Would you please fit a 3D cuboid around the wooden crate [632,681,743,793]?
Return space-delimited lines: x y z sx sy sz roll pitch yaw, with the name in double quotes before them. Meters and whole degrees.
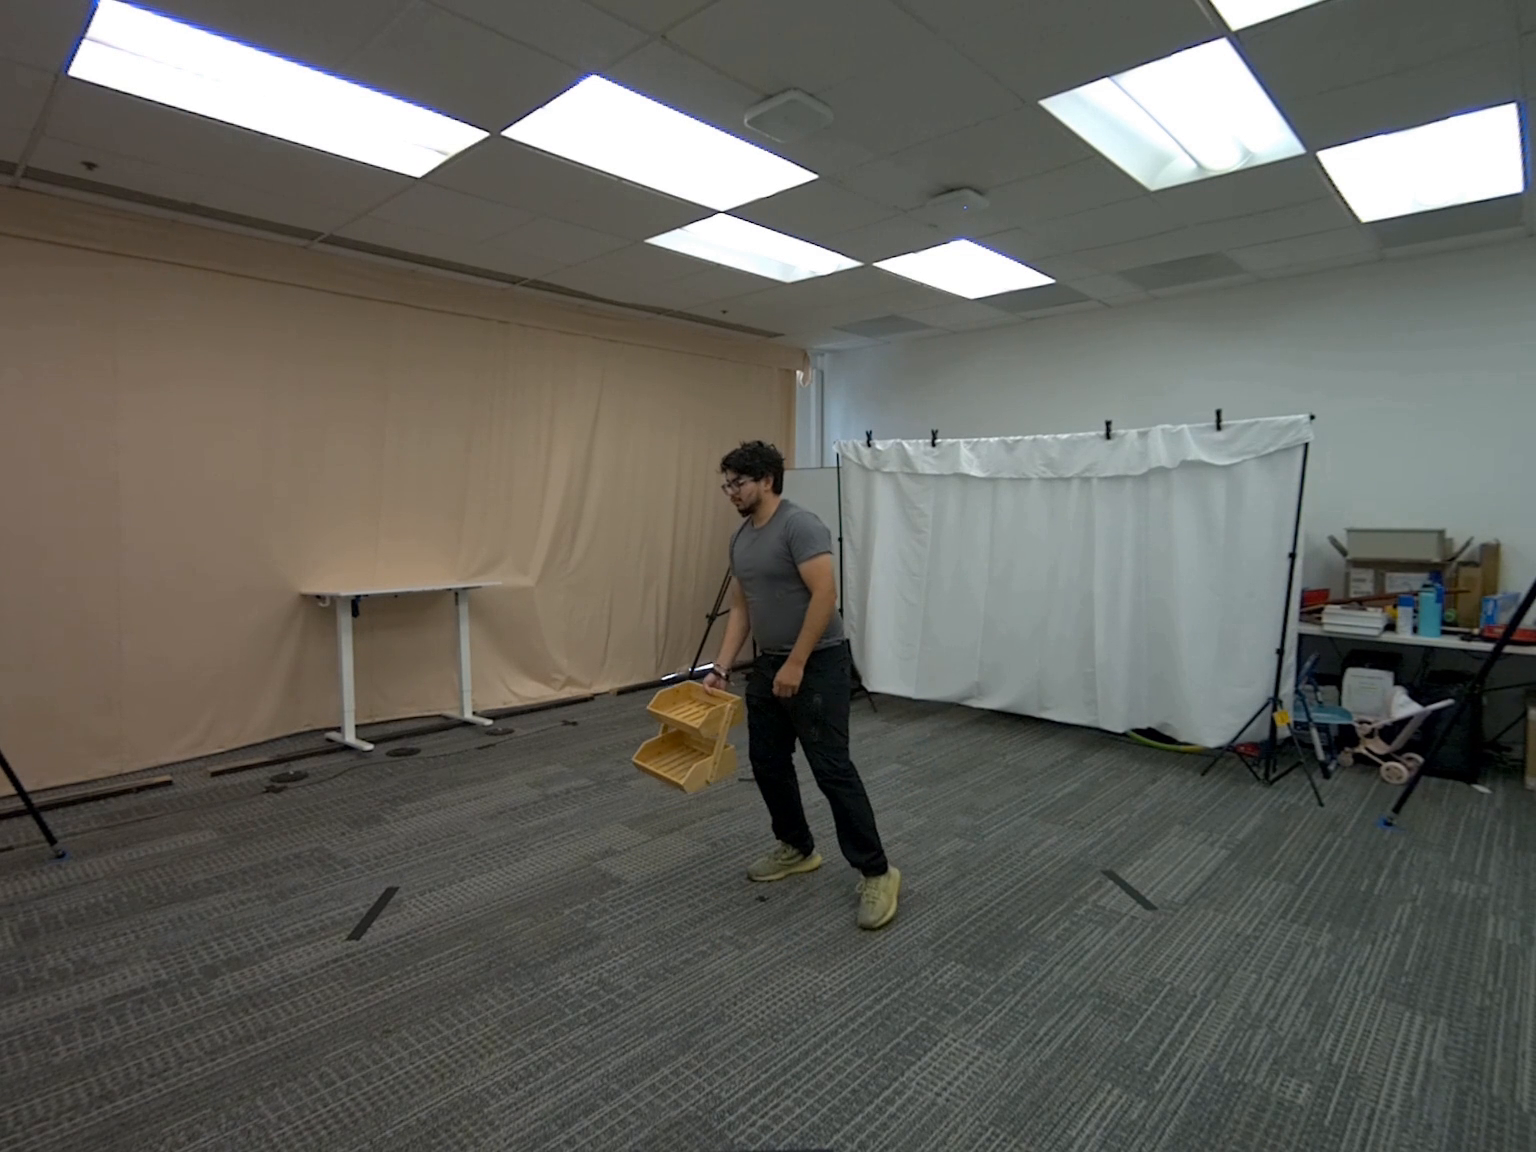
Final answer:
"wooden crate" -0.291 0.576 3.043 0.294 0.271 0.336 -15 16 -42
